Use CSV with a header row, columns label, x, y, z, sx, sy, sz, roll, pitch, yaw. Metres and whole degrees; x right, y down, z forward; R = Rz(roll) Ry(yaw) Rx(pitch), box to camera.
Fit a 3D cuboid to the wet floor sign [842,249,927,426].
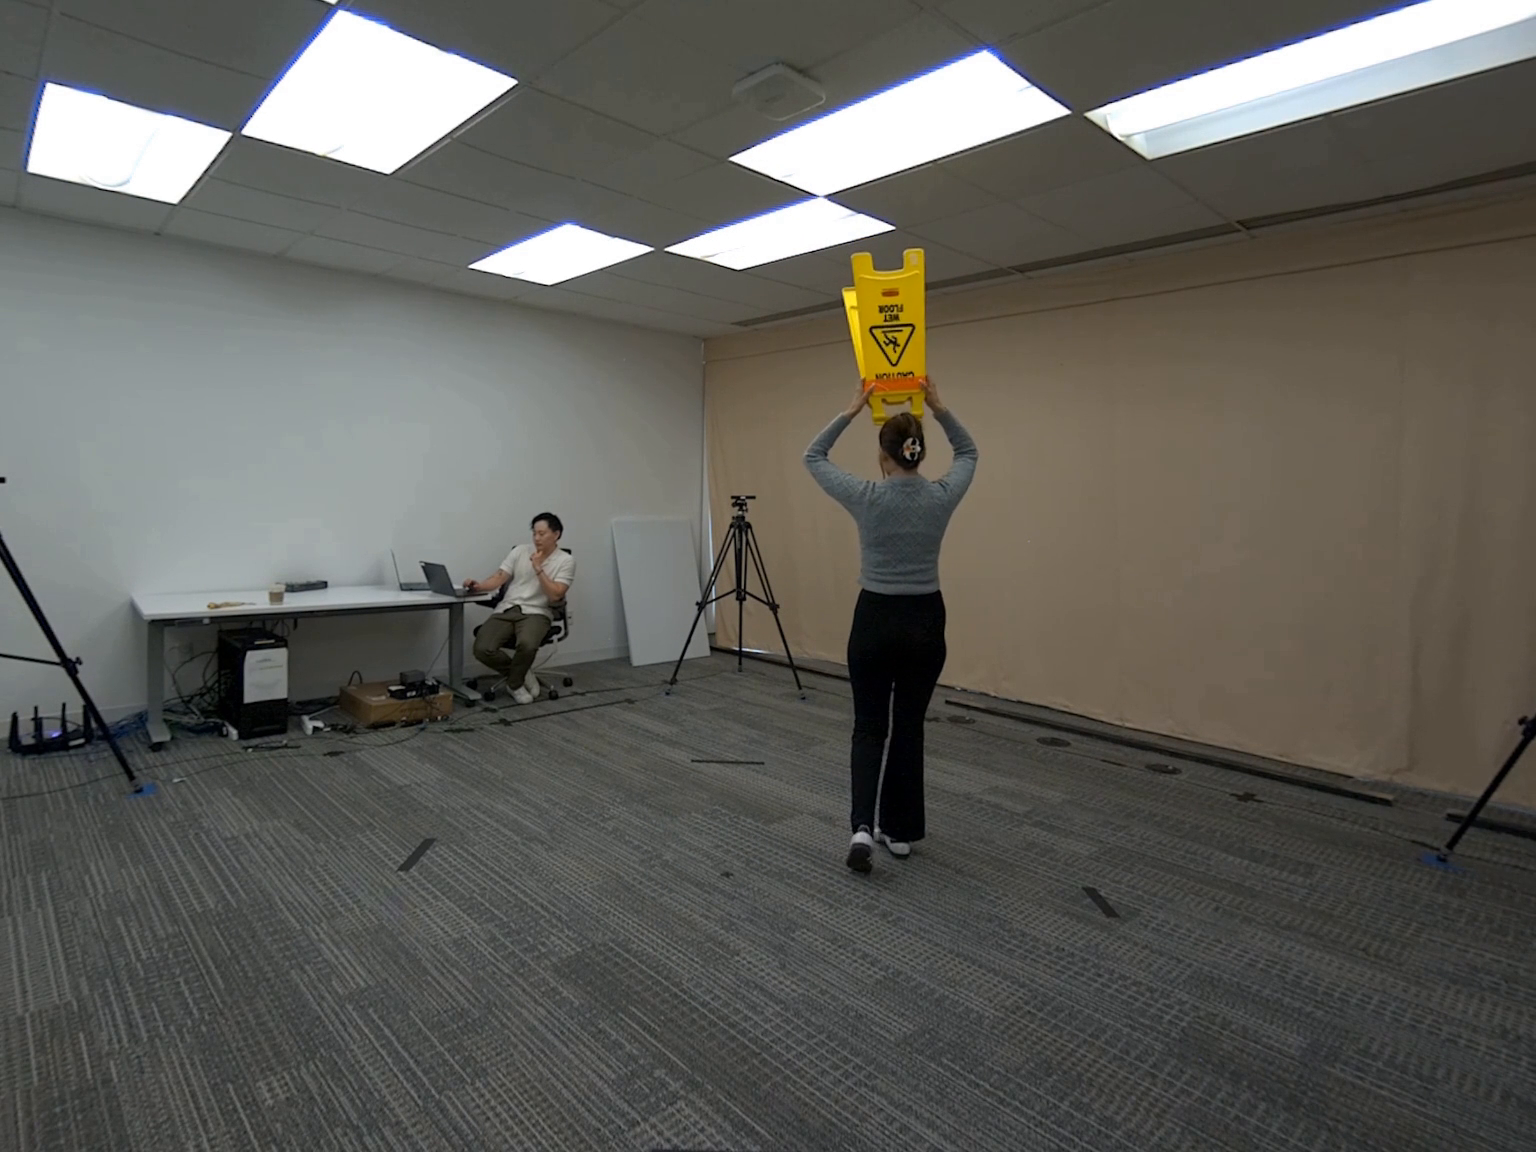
label,x,y,z,sx,sy,sz,roll,pitch,yaw
wet floor sign,0.477,-0.908,3.318,0.282,0.651,0.287,-2,-10,0
